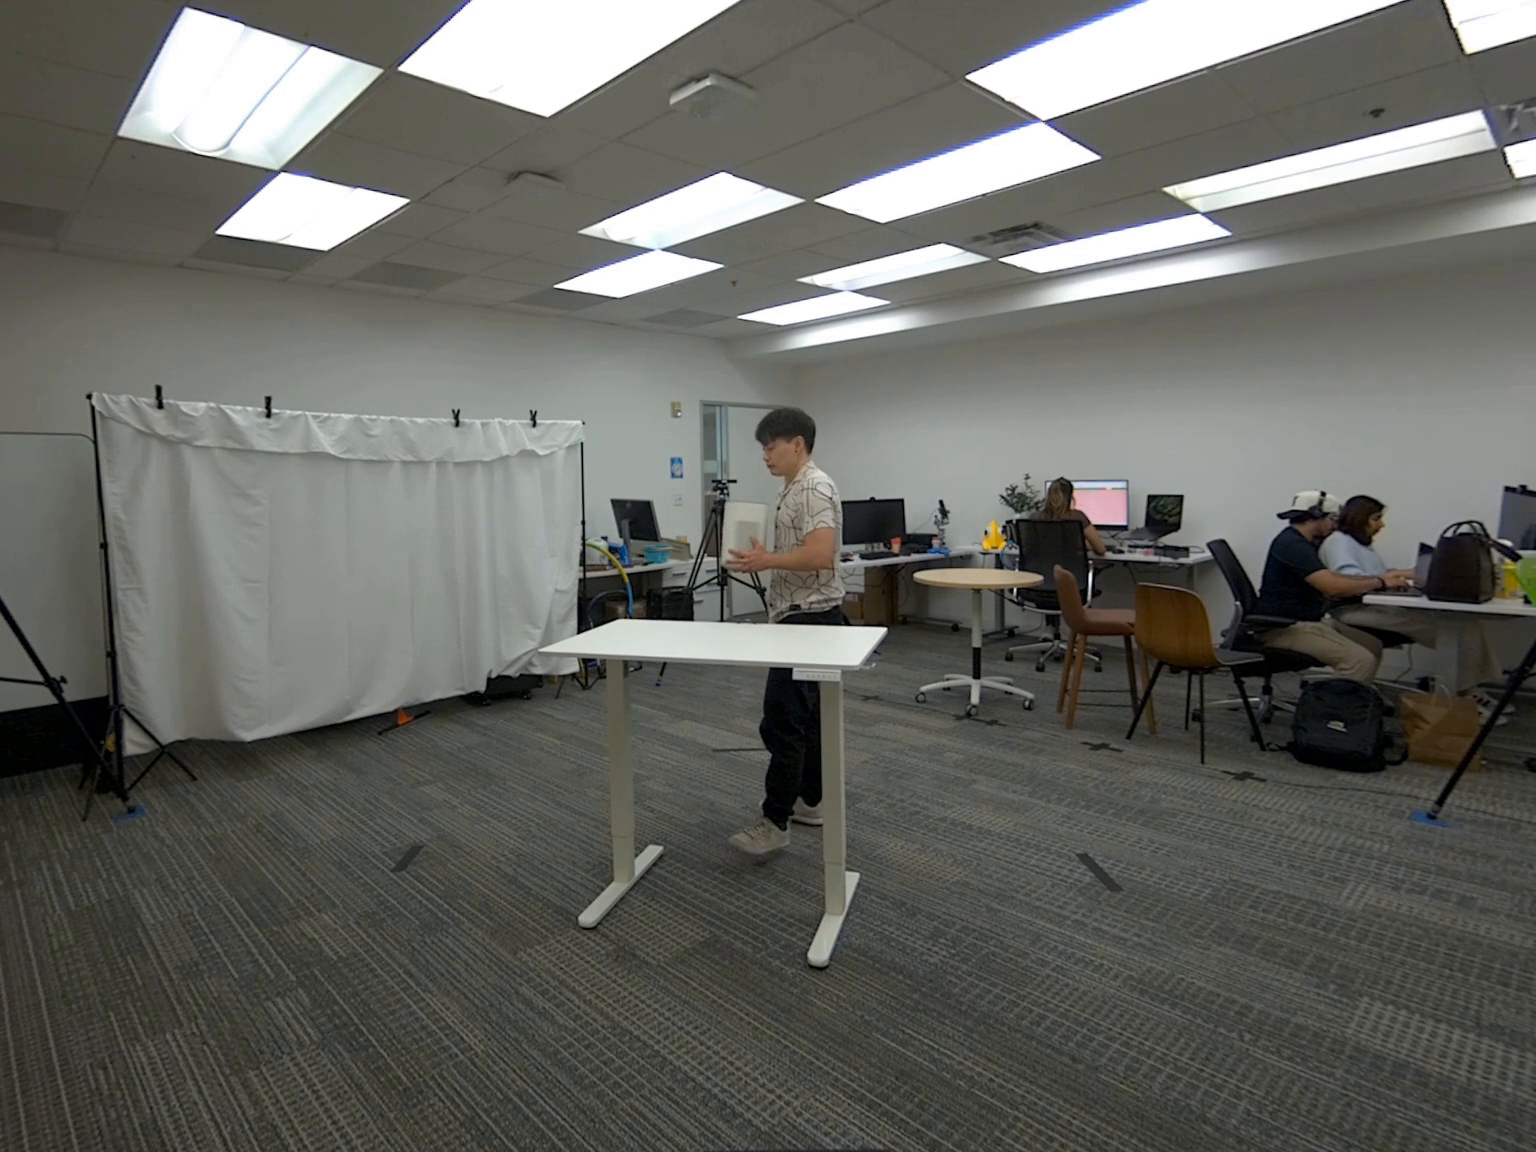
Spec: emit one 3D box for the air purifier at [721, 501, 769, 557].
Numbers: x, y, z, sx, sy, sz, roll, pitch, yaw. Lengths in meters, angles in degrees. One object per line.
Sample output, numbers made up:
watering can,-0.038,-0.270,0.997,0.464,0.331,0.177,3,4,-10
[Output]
air purifier,-0.096,-0.156,3.386,0.170,0.266,0.172,5,-3,-8
